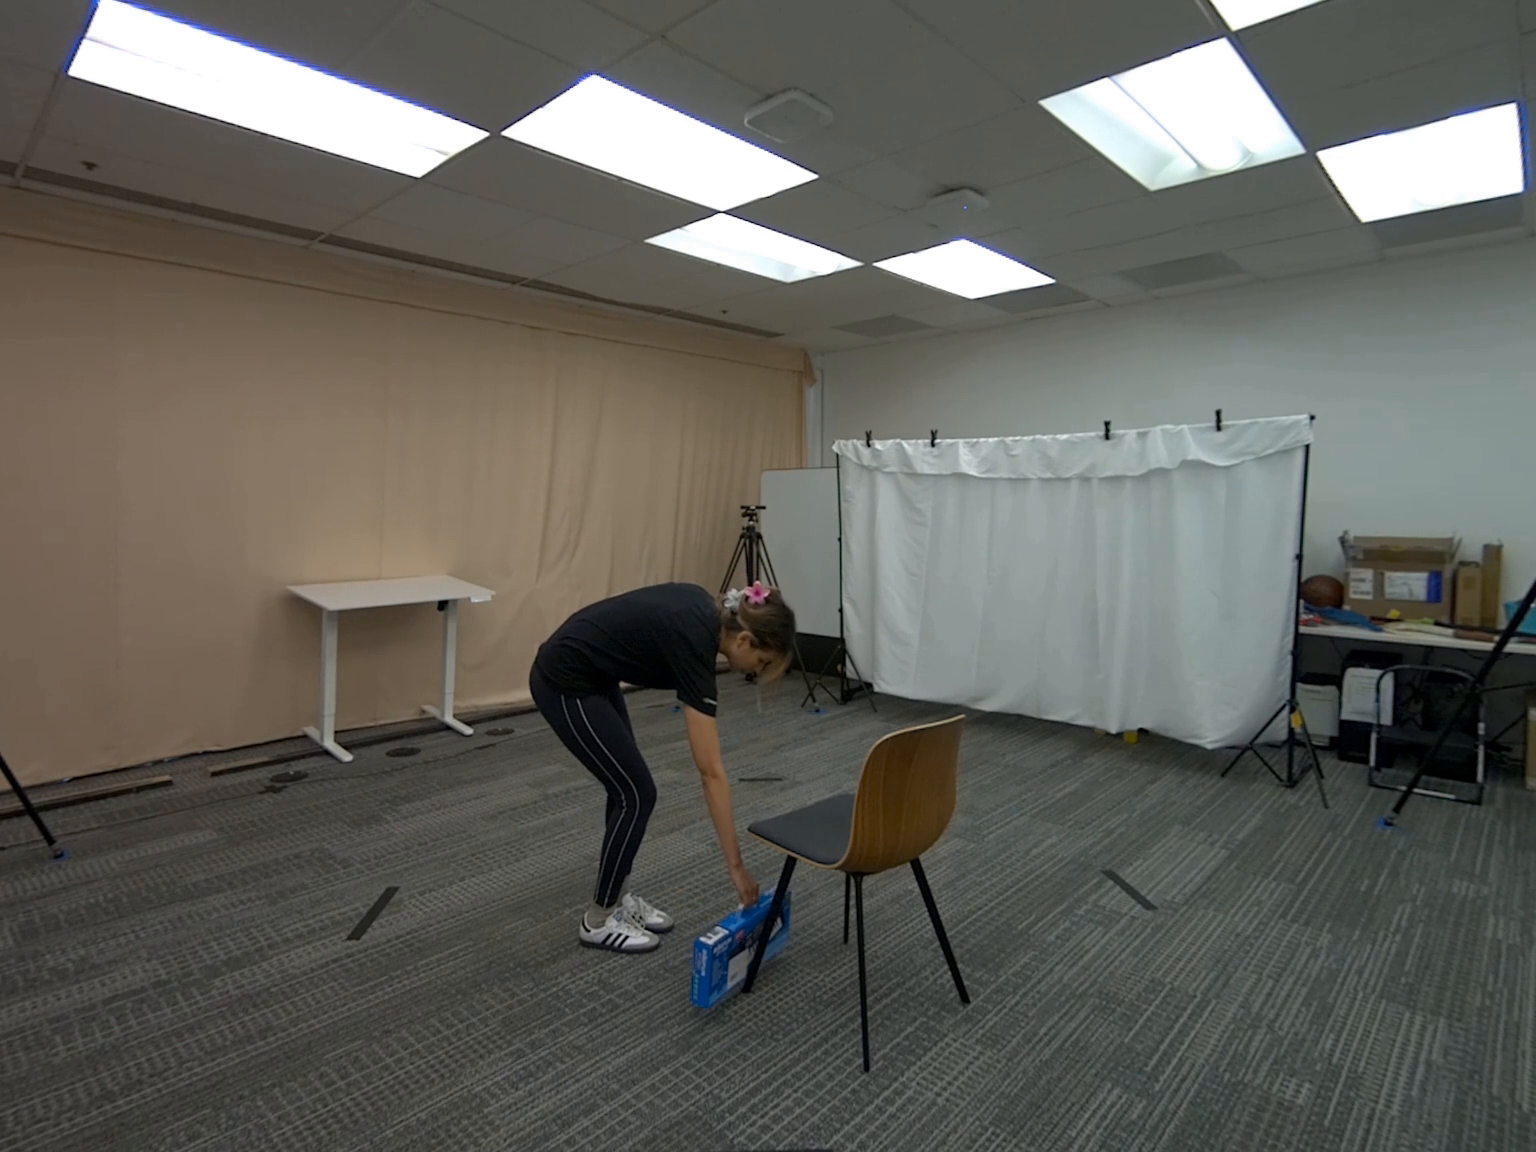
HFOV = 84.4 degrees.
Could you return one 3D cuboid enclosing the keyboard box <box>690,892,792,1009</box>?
[{"bbox_3d":[-0.066,1.057,2.421,0.061,0.175,0.424,5,5,31],"label":"keyboard box"}]
